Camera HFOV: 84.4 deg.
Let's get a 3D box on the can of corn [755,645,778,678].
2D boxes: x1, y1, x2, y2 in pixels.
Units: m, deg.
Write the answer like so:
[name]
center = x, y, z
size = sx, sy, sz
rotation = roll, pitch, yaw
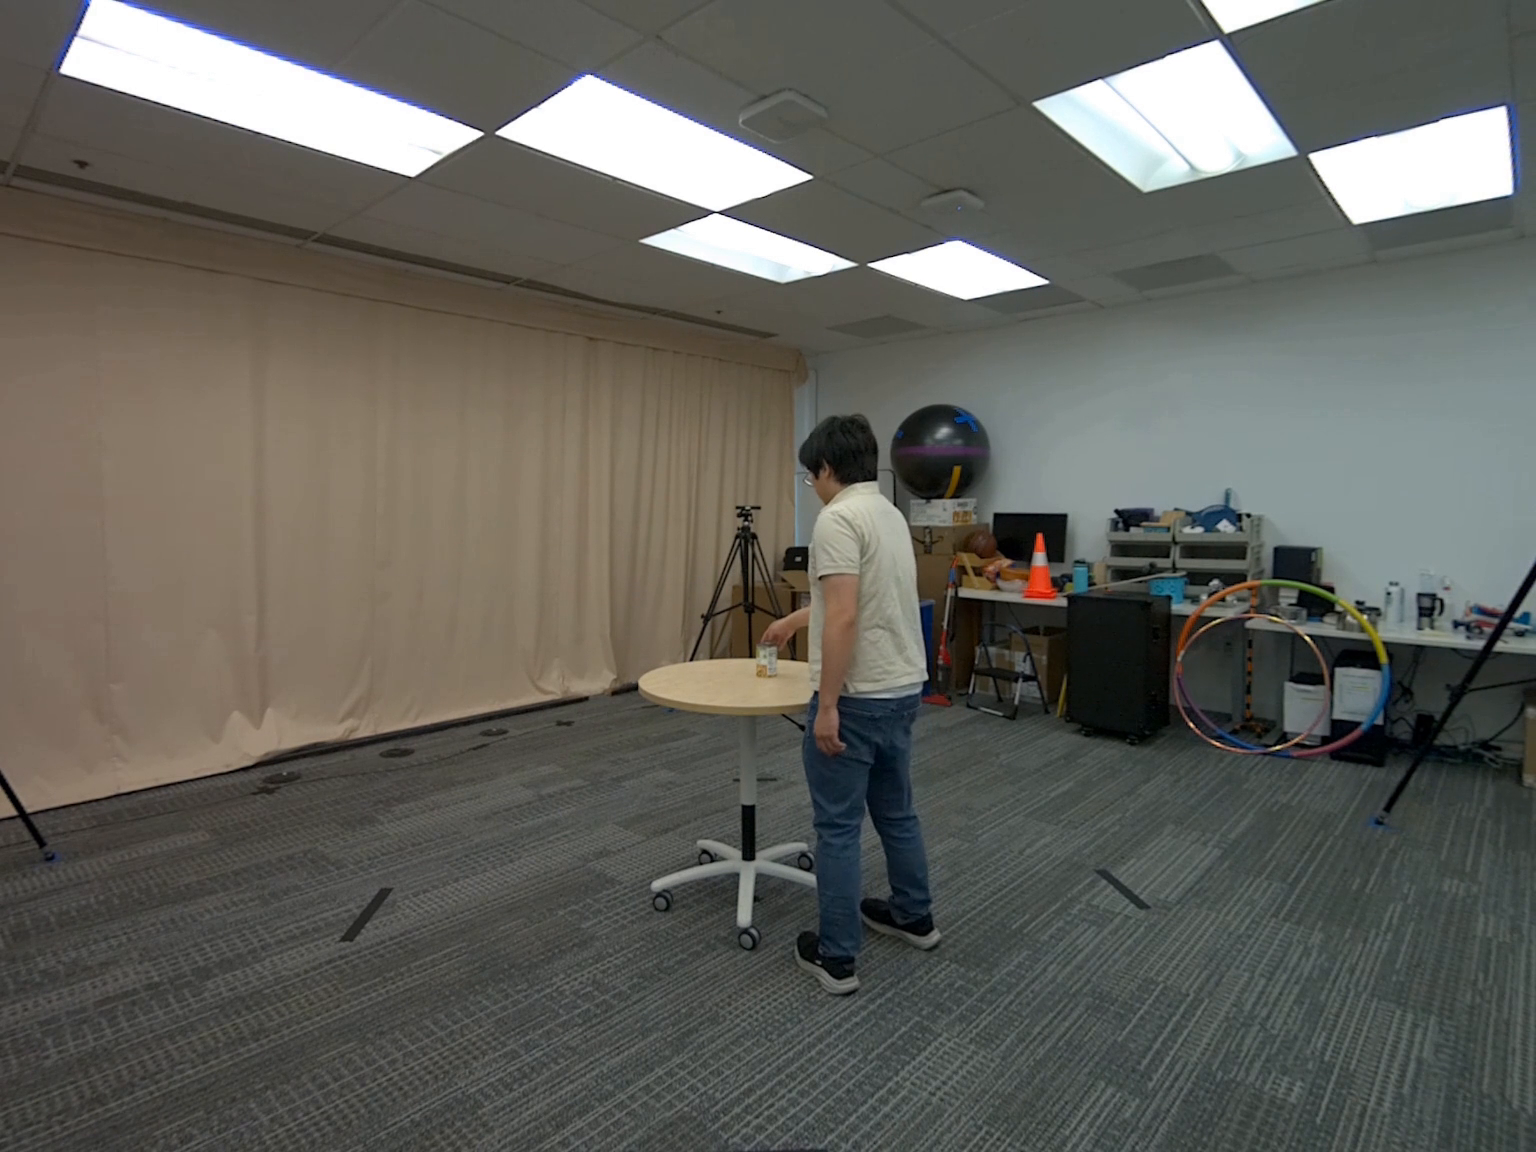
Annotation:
[can of corn]
center = -0.001, 0.304, 3.011
size = 0.074, 0.111, 0.074
rotation = 2, 4, -2
